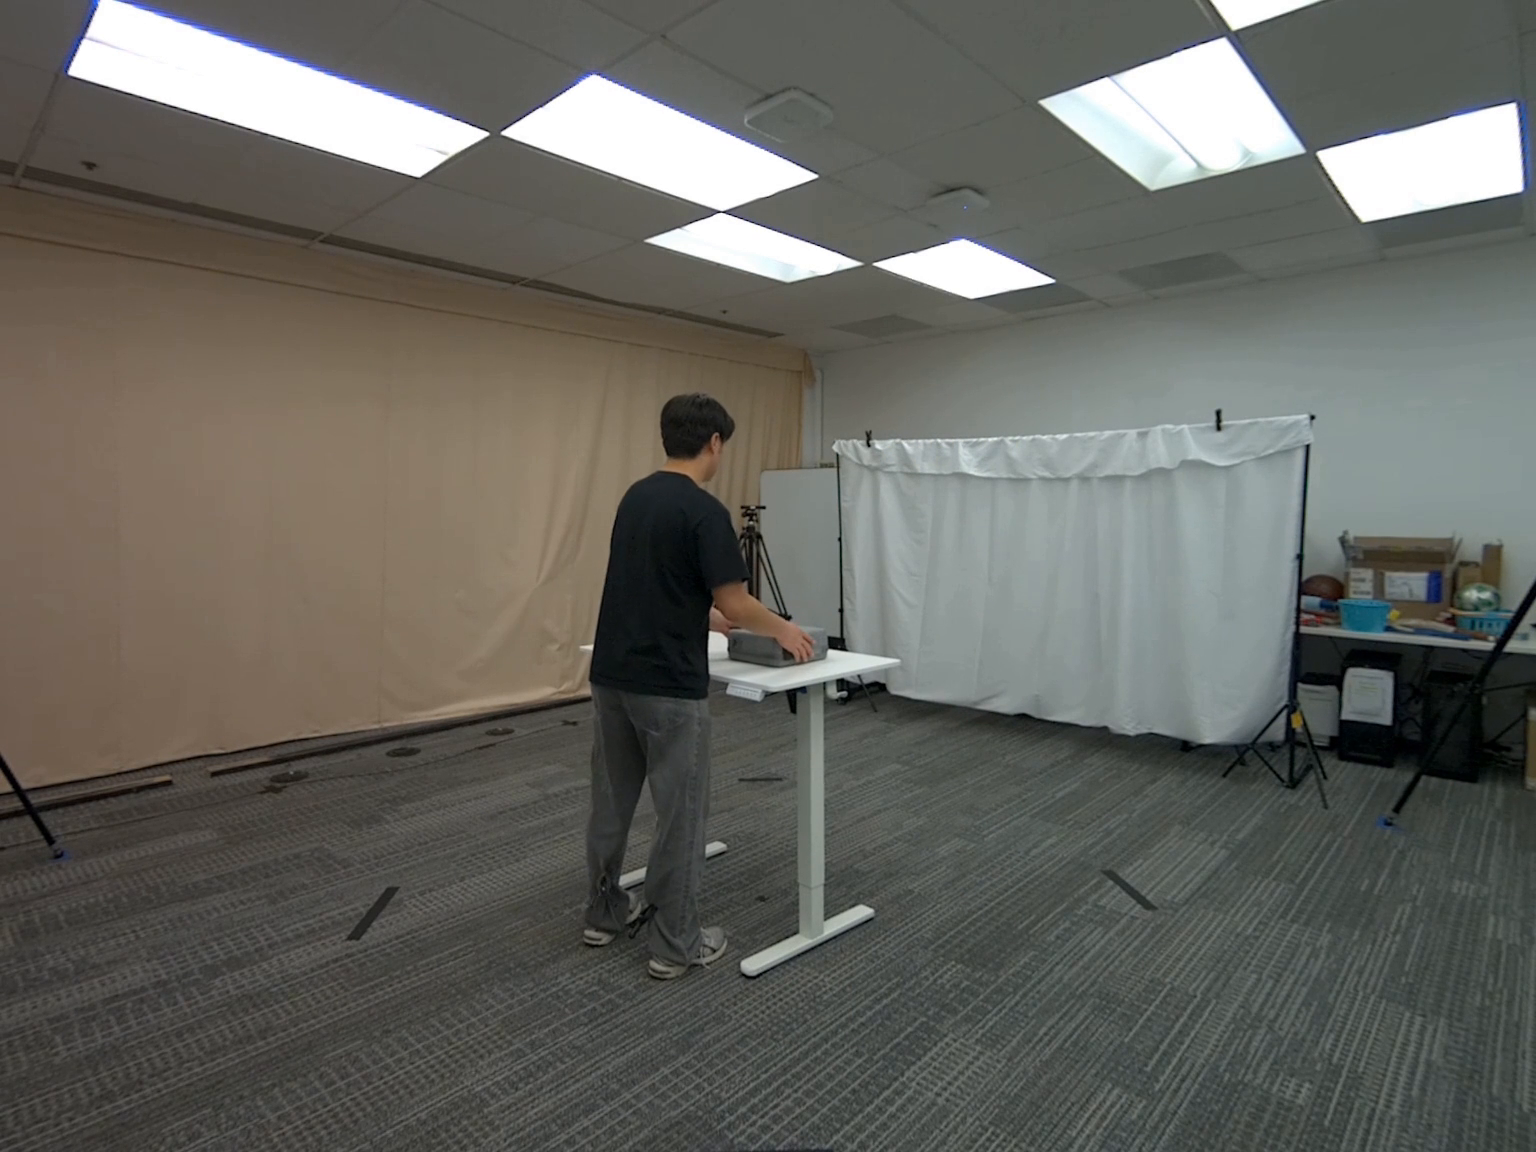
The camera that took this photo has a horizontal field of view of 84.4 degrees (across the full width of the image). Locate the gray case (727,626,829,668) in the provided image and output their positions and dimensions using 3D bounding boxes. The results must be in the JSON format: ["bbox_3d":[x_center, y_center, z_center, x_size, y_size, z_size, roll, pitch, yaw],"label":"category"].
[{"bbox_3d":[0.025,0.227,2.793,0.255,0.103,0.296,-5,5,-42],"label":"gray case"}]
